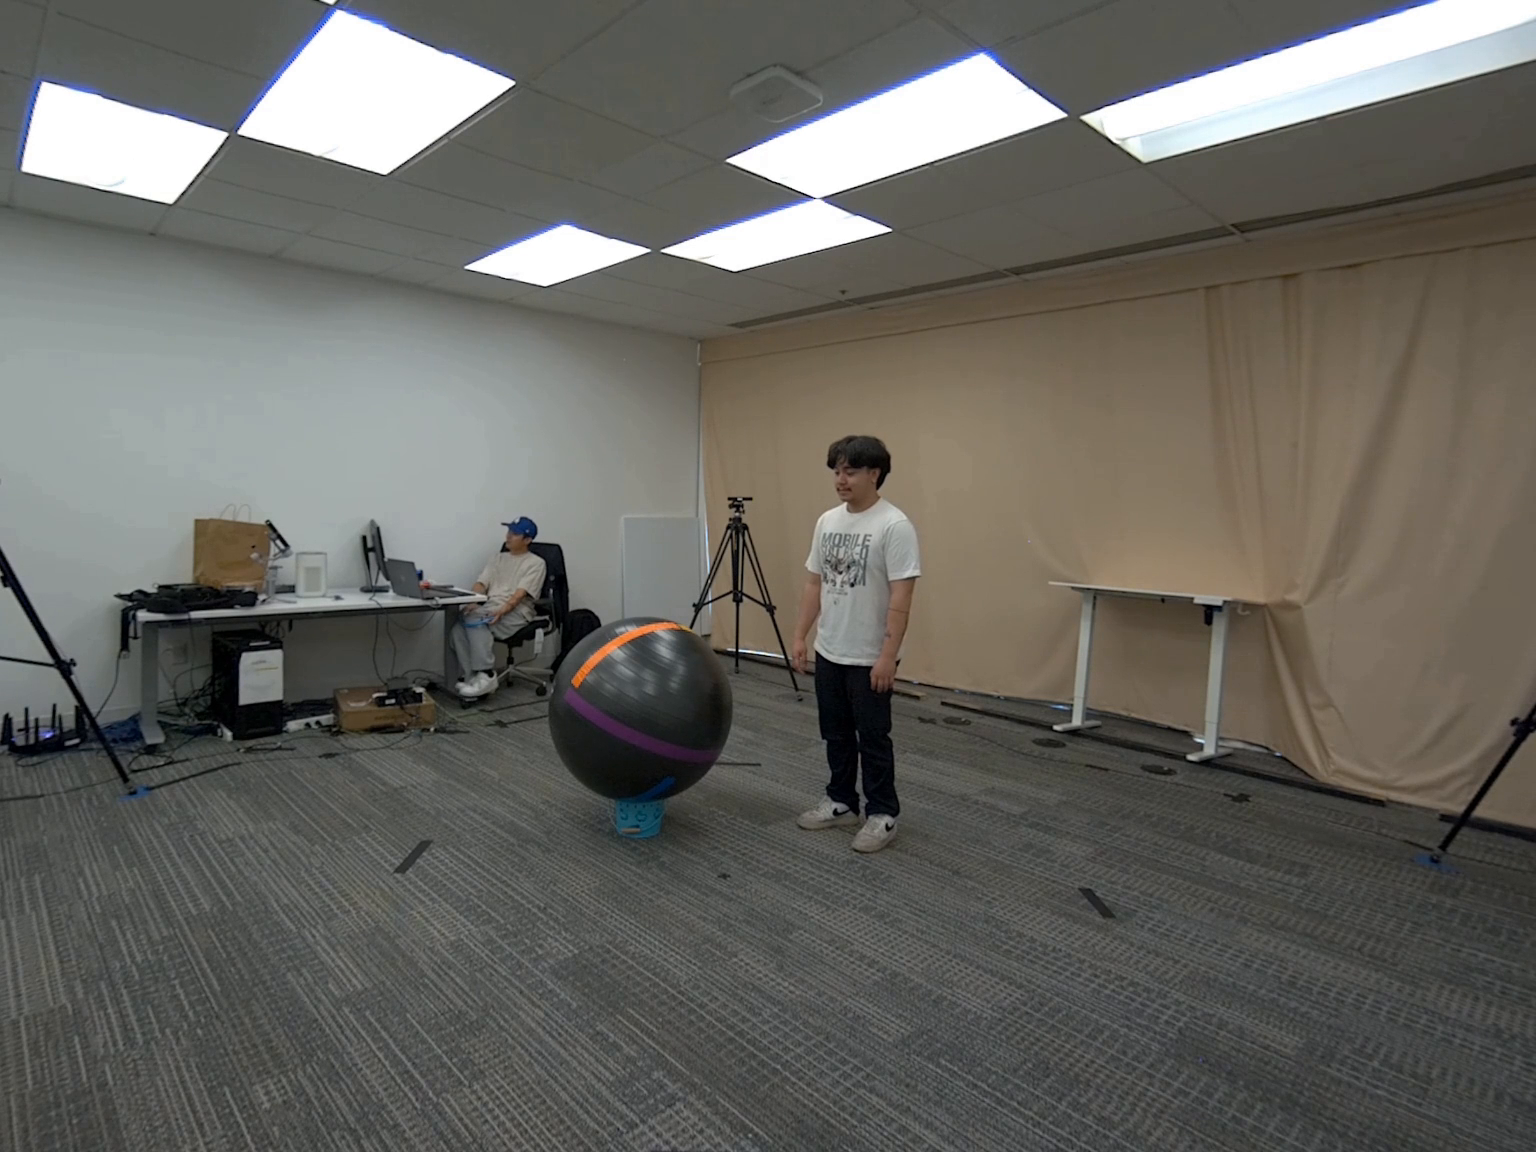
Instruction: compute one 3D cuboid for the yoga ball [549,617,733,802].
[{"bbox_3d":[-0.551,0.556,3.506,0.757,0.756,0.761,1,4,-1],"label":"yoga ball"}]
